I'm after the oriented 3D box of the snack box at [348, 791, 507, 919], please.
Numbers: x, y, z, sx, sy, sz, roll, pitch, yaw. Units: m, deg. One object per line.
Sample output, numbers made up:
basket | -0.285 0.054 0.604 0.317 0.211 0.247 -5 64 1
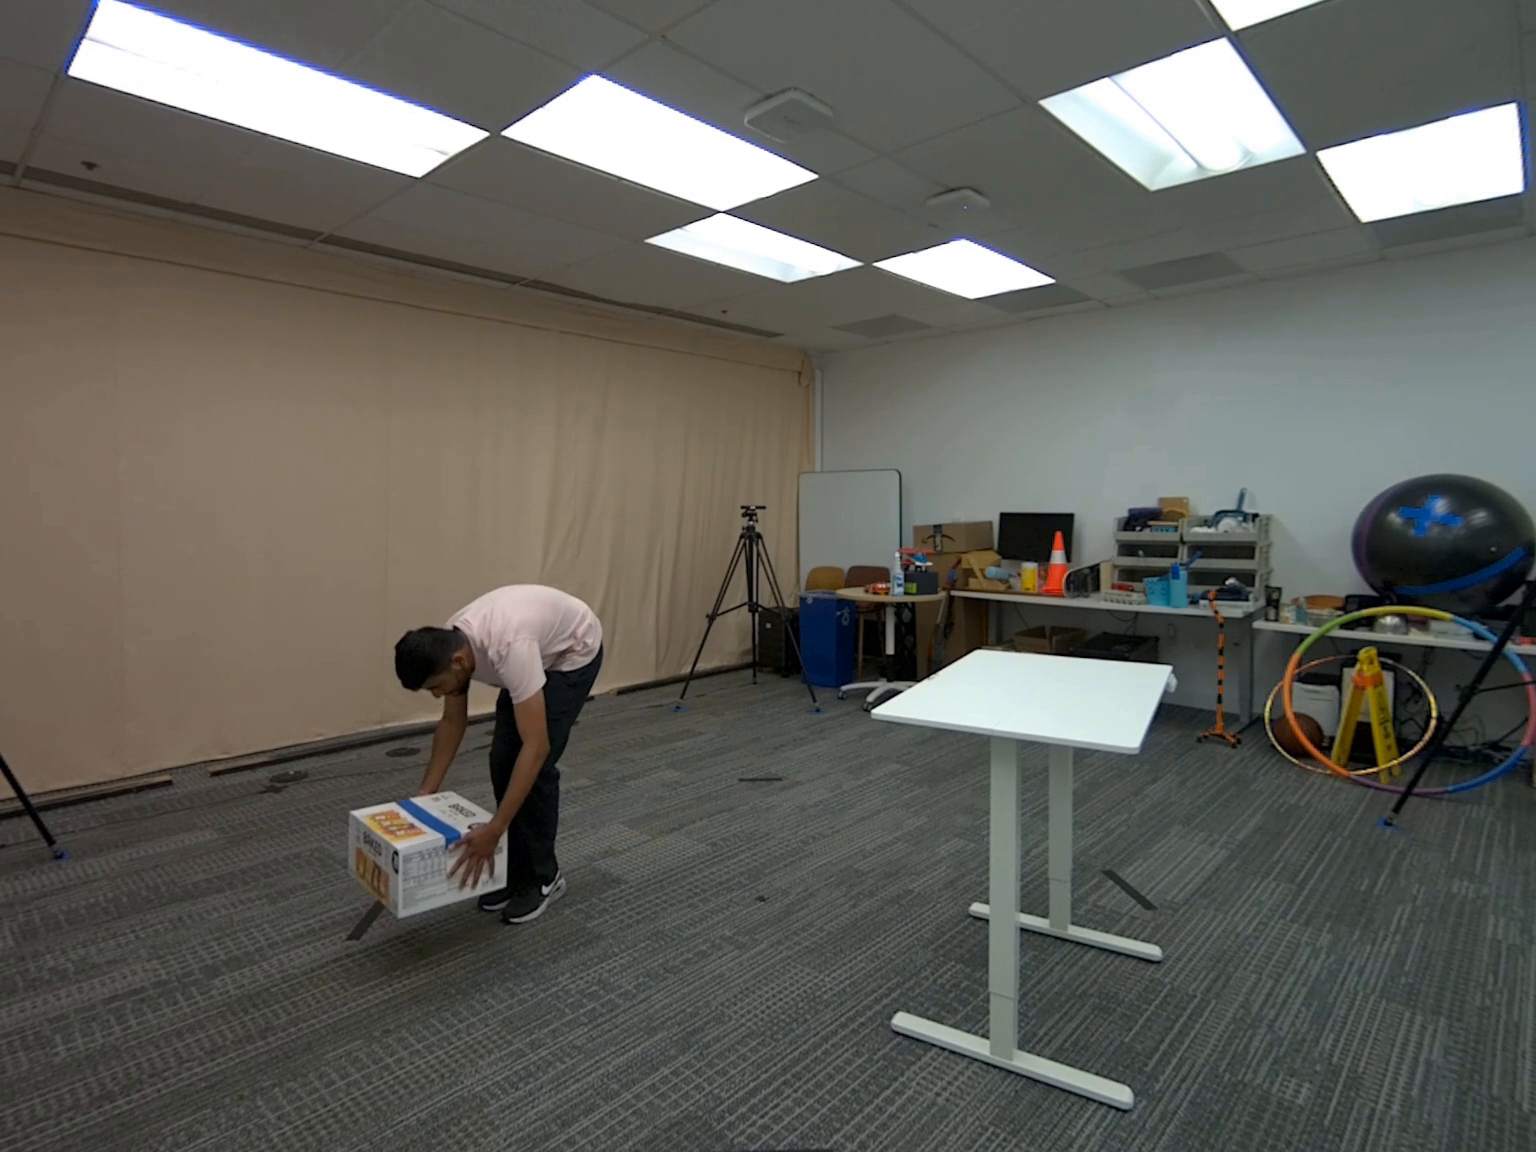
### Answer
snack box | -1.067 0.856 2.639 0.330 0.205 0.419 -4 6 -43
